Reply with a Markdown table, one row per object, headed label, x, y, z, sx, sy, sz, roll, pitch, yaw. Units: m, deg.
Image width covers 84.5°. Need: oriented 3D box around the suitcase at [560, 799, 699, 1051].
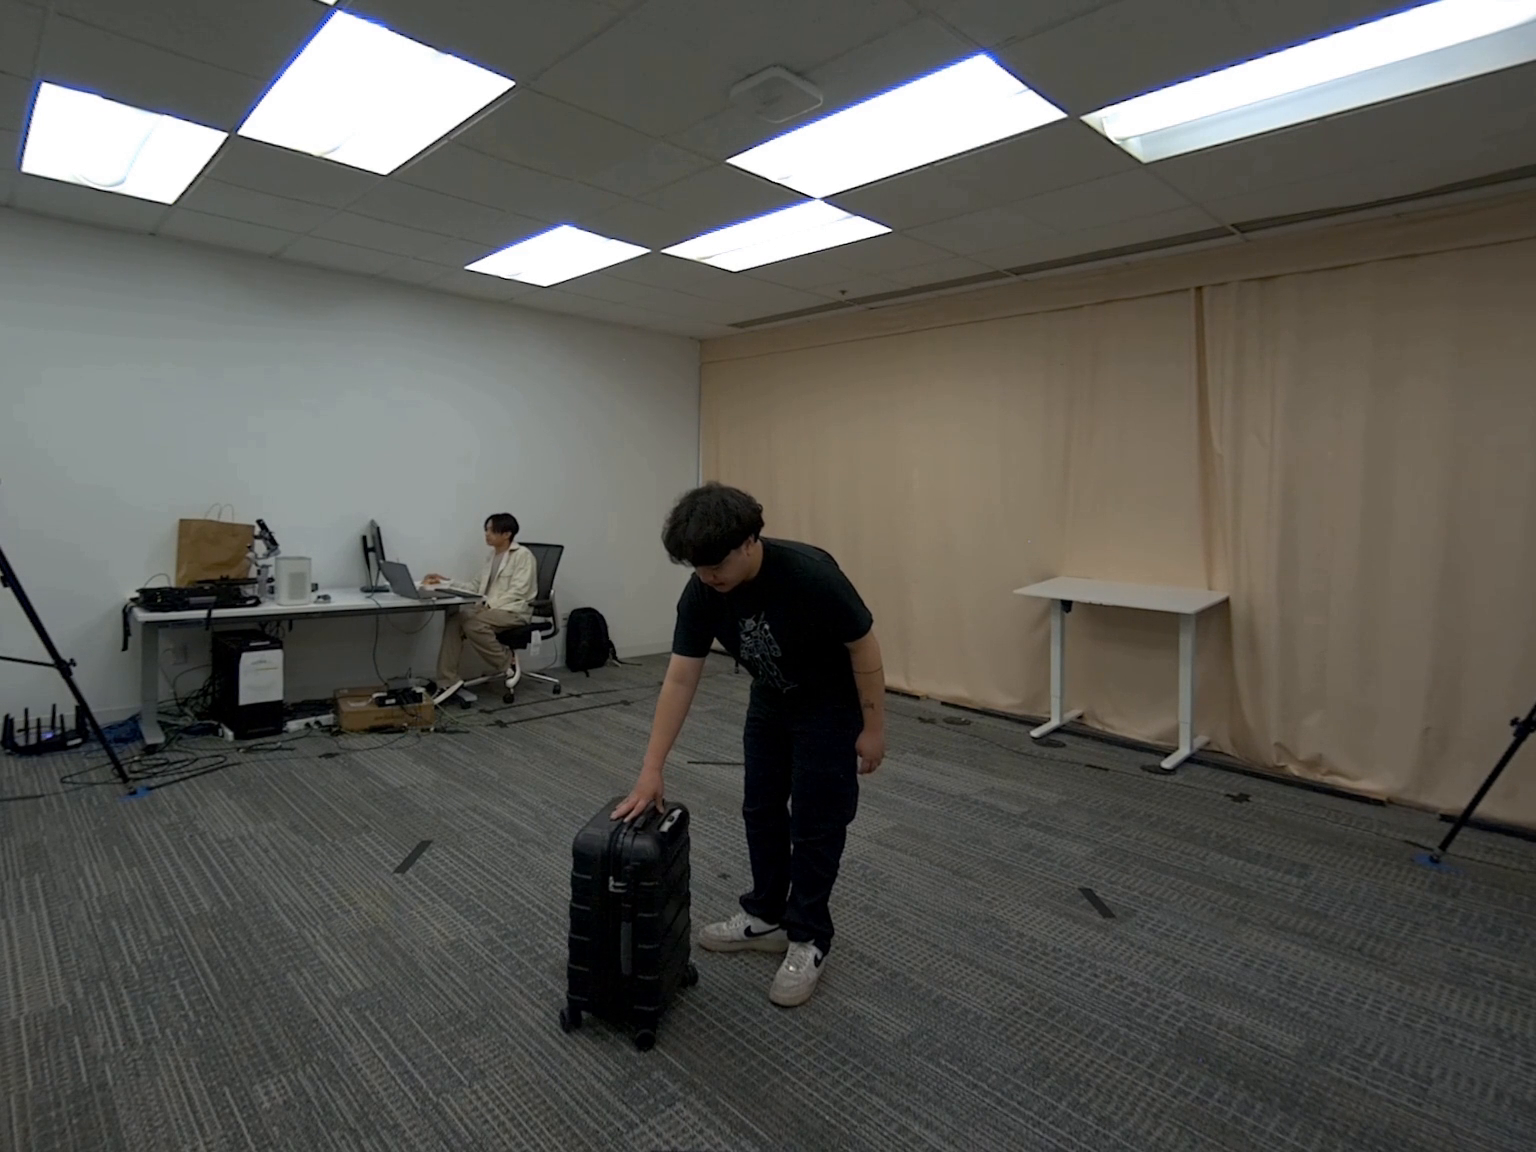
| label | x | y | z | sx | sy | sz | roll | pitch | yaw |
| --- | --- | --- | --- | --- | --- | --- | --- | --- | --- |
| suitcase | -0.378 | 0.906 | 2.268 | 0.251 | 0.548 | 0.372 | 1 | 4 | 12 |
